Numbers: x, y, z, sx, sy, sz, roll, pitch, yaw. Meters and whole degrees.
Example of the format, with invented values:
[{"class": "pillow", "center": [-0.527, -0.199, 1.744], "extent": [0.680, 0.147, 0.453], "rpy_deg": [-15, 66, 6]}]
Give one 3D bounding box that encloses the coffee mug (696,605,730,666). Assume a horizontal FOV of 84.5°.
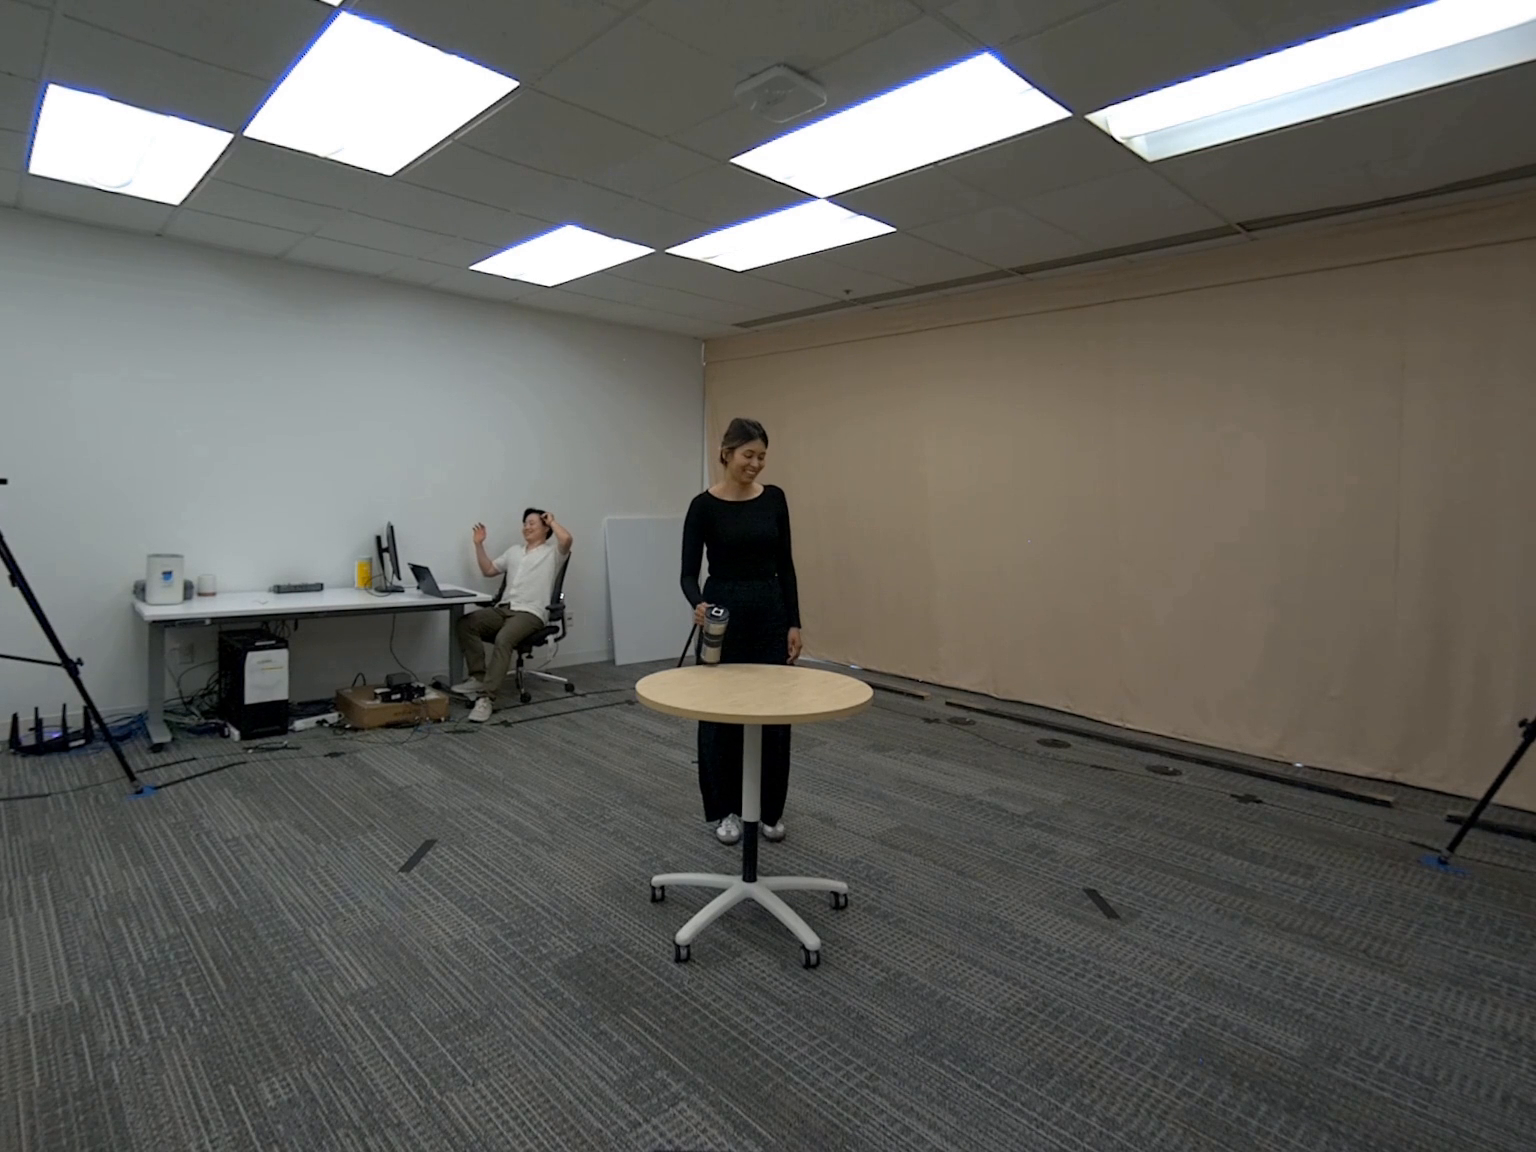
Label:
[{"class": "coffee mug", "center": [-0.201, 0.208, 3.039], "extent": [0.090, 0.200, 0.121], "rpy_deg": [19, 28, 28]}]
